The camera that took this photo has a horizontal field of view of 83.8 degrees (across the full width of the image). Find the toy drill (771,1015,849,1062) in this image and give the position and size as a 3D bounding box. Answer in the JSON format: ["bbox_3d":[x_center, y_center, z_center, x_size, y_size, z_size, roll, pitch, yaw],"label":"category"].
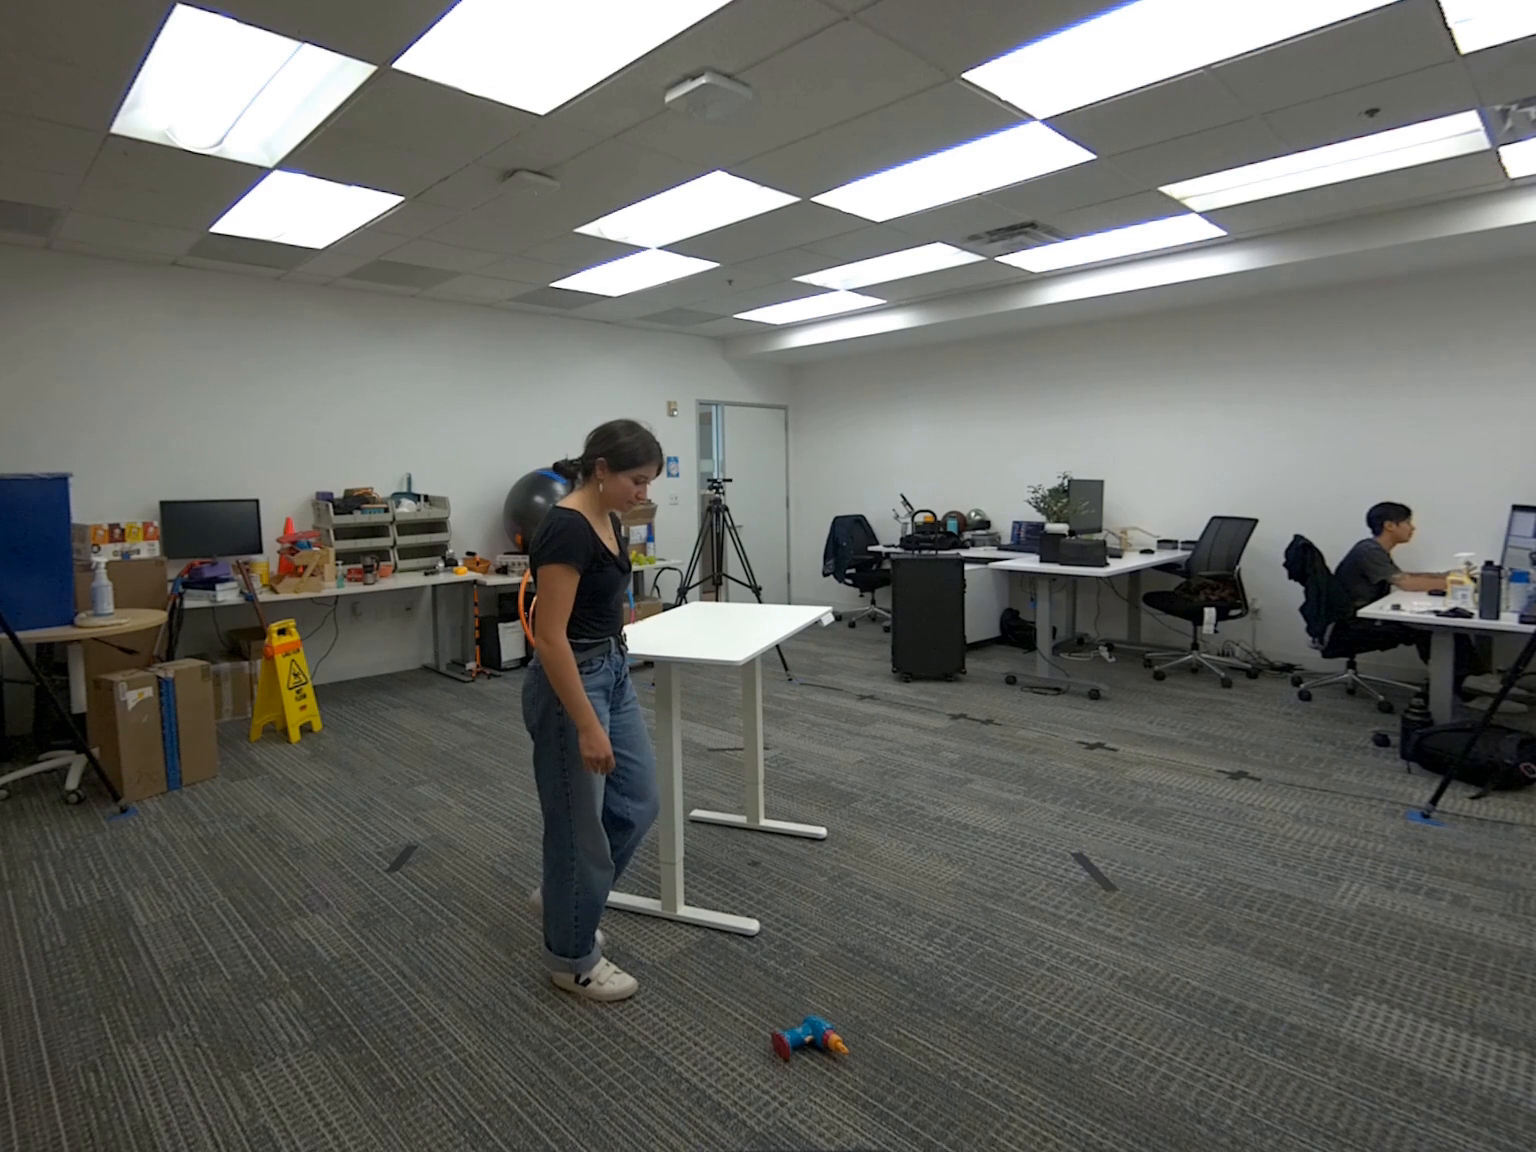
[{"bbox_3d":[0.108,1.128,2.079,0.142,0.061,0.174,-5,5,-32],"label":"toy drill"}]
